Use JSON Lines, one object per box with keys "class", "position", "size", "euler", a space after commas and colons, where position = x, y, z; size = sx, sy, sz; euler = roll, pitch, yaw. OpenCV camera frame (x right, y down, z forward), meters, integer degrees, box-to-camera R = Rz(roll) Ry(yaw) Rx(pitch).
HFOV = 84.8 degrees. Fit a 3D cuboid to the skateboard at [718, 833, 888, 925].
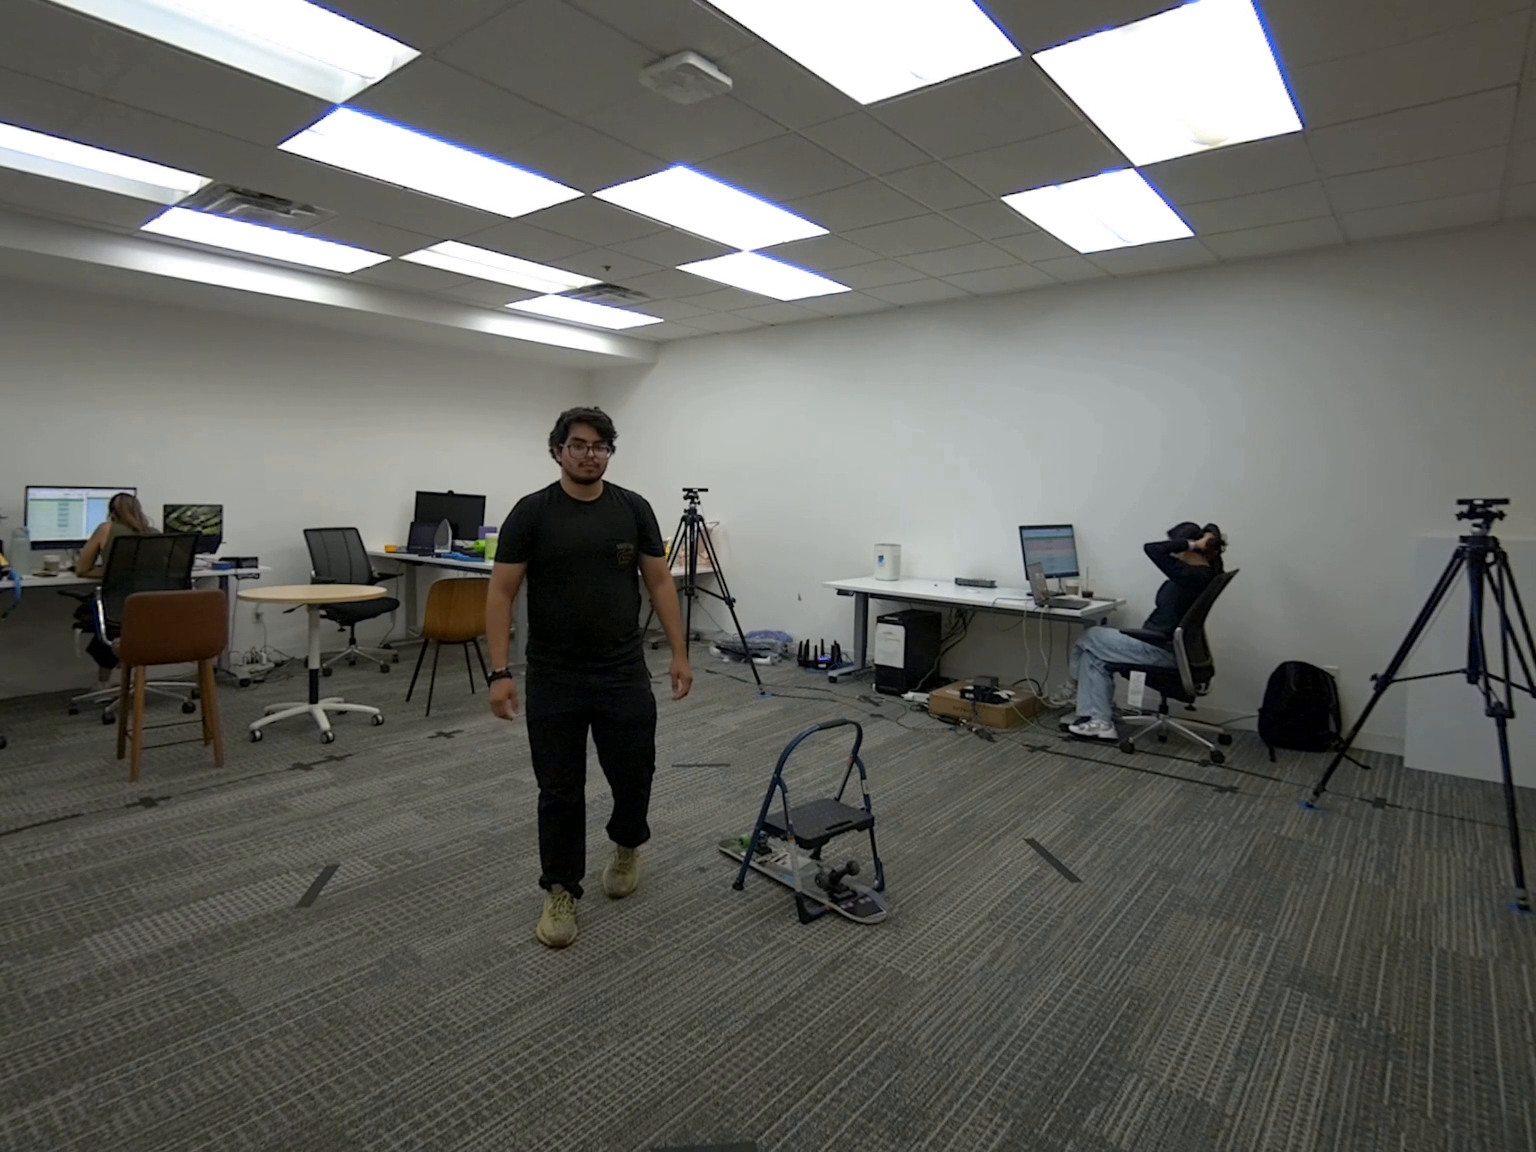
{"class": "skateboard", "position": [0.097, 1.029, 3.059], "size": [0.188, 0.110, 0.812], "euler": [-4, 7, -42]}
